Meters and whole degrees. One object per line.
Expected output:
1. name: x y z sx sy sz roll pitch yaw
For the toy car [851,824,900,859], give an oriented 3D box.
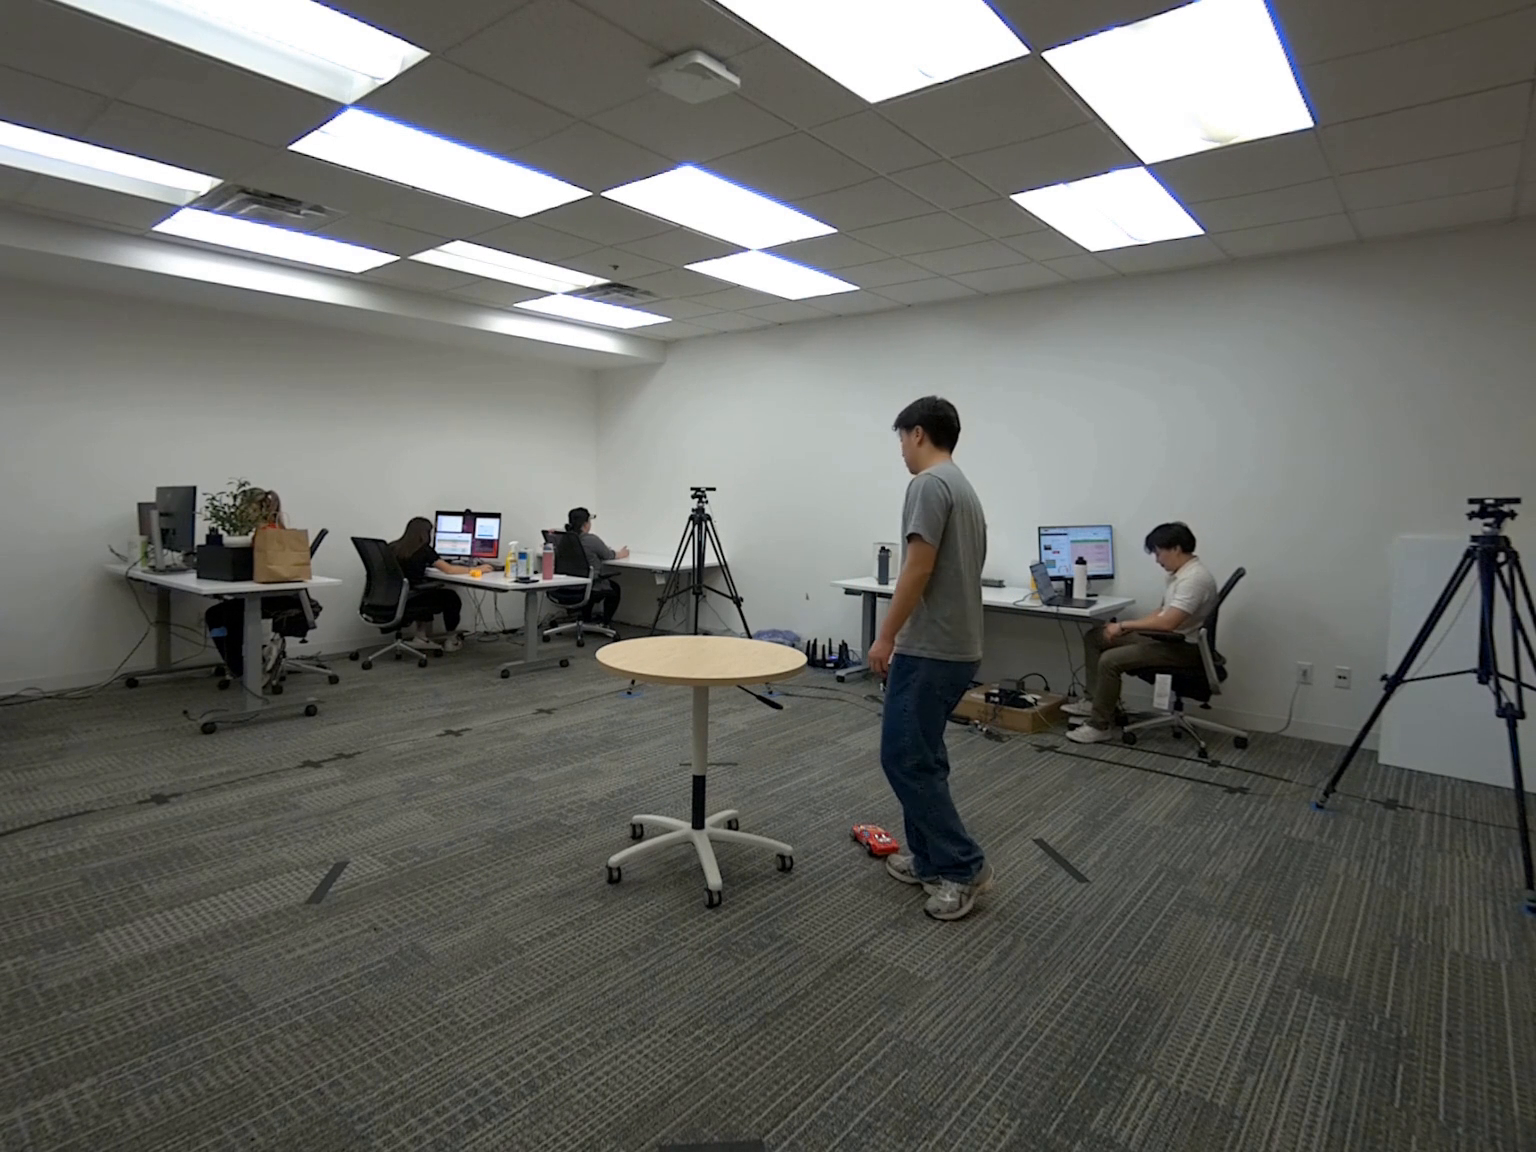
1. toy car: 0.415 1.027 3.315 0.128 0.084 0.257 0 -6 -18
